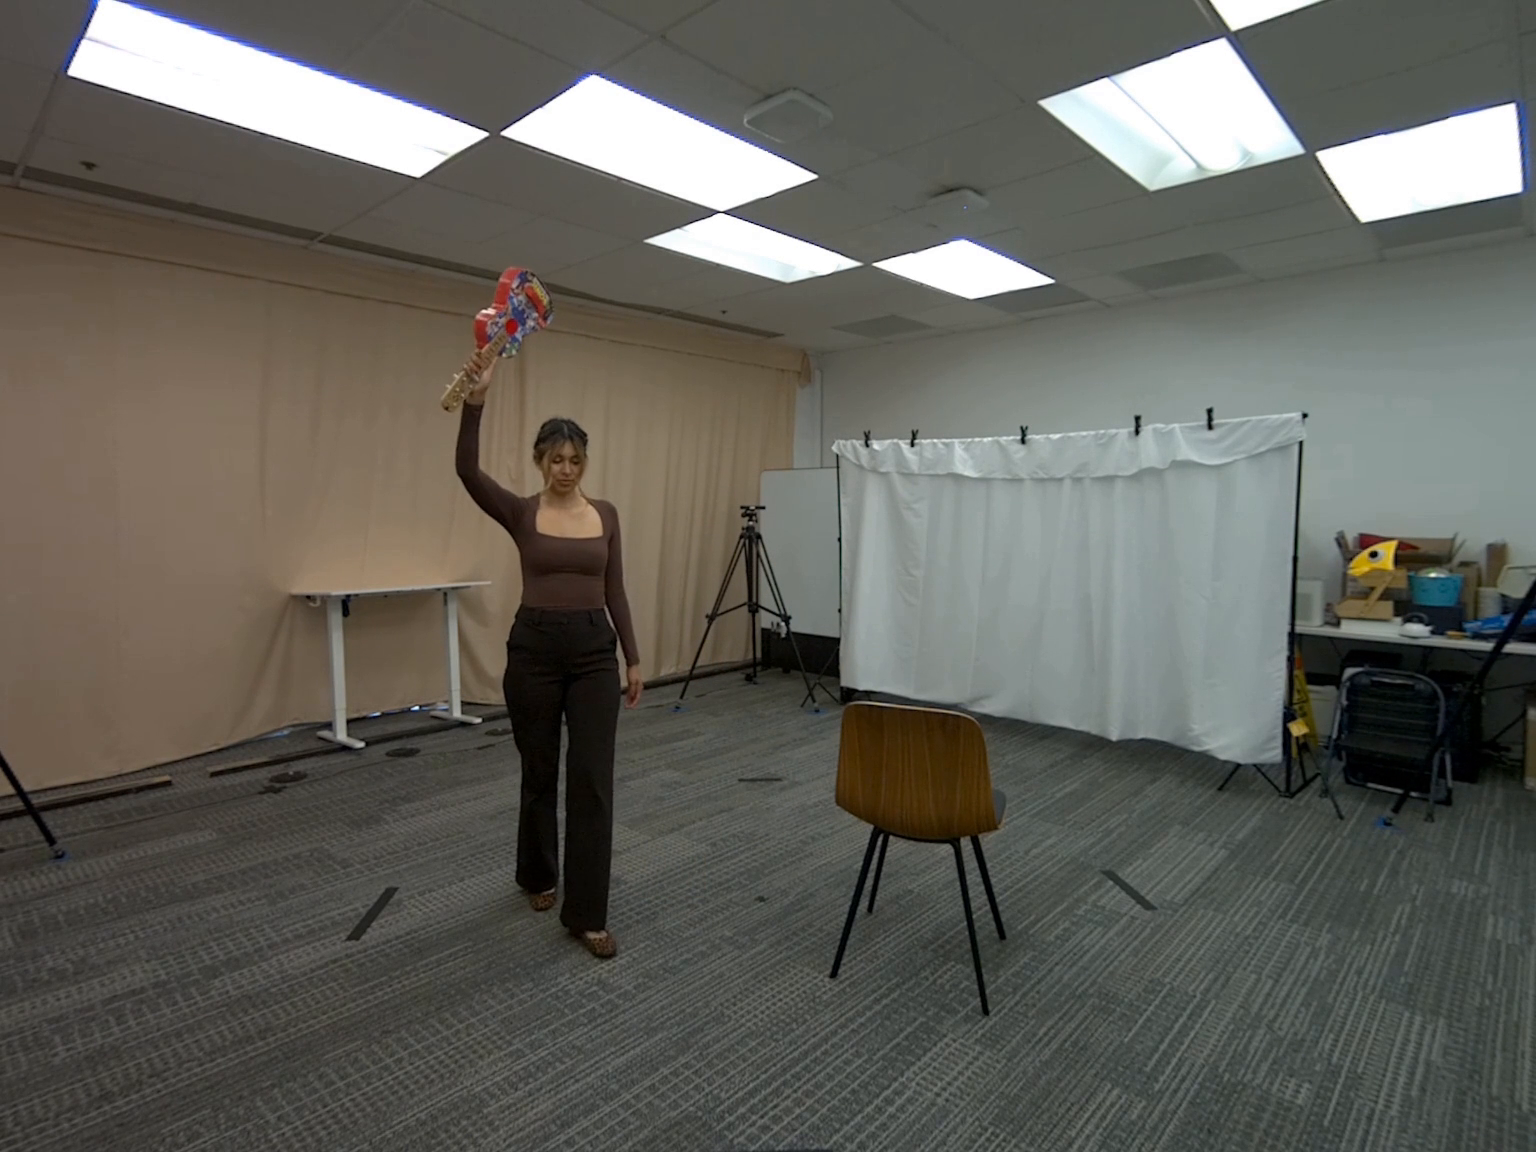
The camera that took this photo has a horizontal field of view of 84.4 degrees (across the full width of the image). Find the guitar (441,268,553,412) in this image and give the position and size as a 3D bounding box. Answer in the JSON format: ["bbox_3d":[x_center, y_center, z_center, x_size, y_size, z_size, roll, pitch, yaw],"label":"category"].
[{"bbox_3d":[-0.819,-0.706,2.462,0.073,0.496,0.187,18,-30,31],"label":"guitar"}]
